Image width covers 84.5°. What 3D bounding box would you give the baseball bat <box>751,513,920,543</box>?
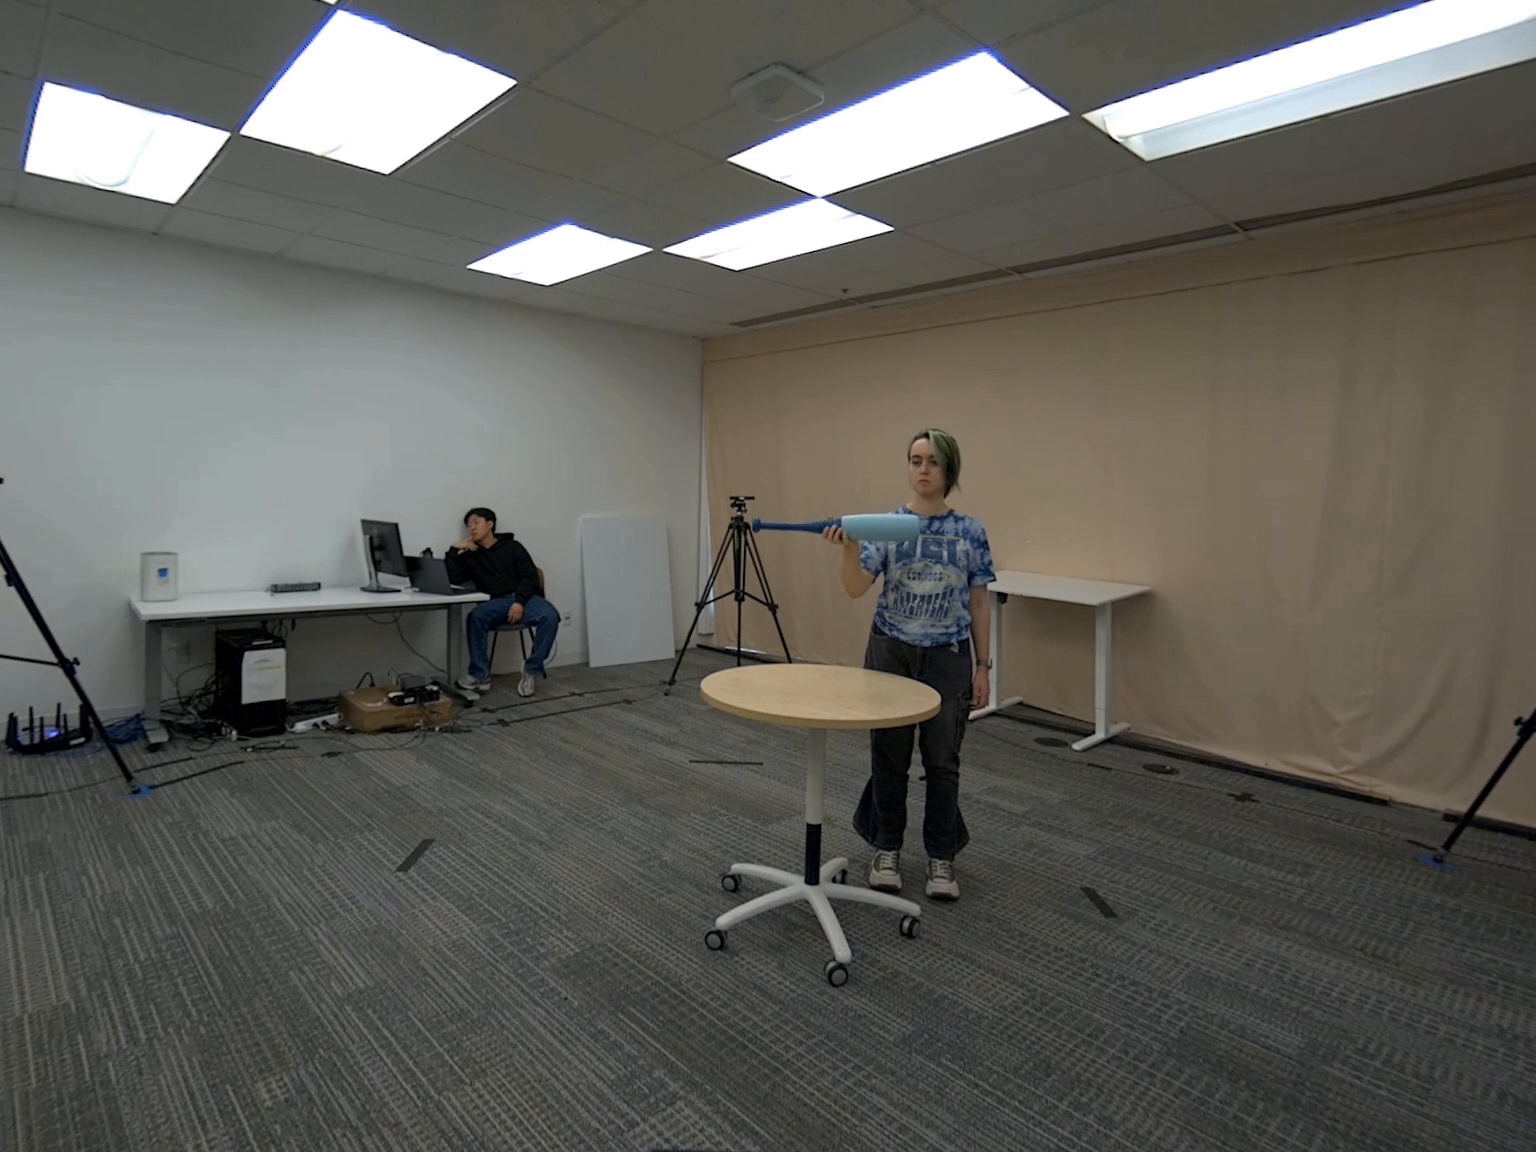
[{"bbox_3d":[0.224,-0.155,2.741,0.546,0.089,0.089,2,4,6],"label":"baseball bat"}]
